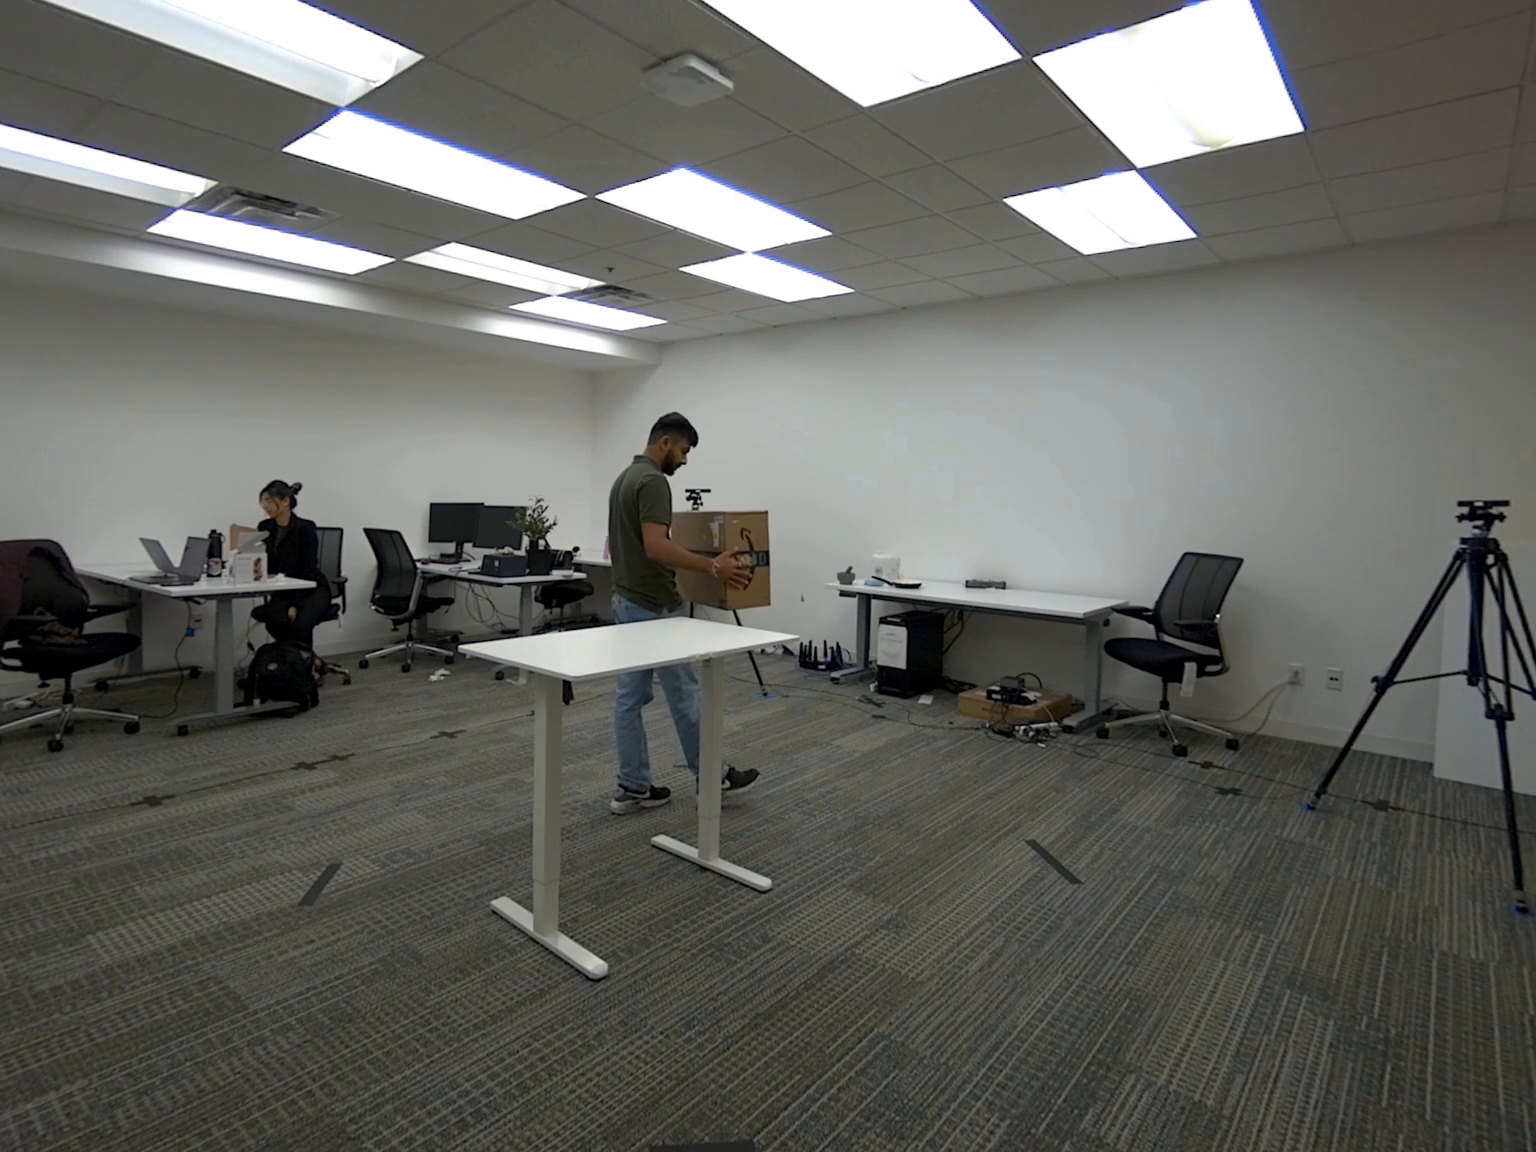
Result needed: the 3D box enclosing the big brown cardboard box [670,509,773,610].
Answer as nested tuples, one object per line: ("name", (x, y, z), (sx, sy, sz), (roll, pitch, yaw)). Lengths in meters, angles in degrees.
("big brown cardboard box", (-0.231, -0.094, 3.839), (0.227, 0.416, 0.605), (-3, 4, -28))
